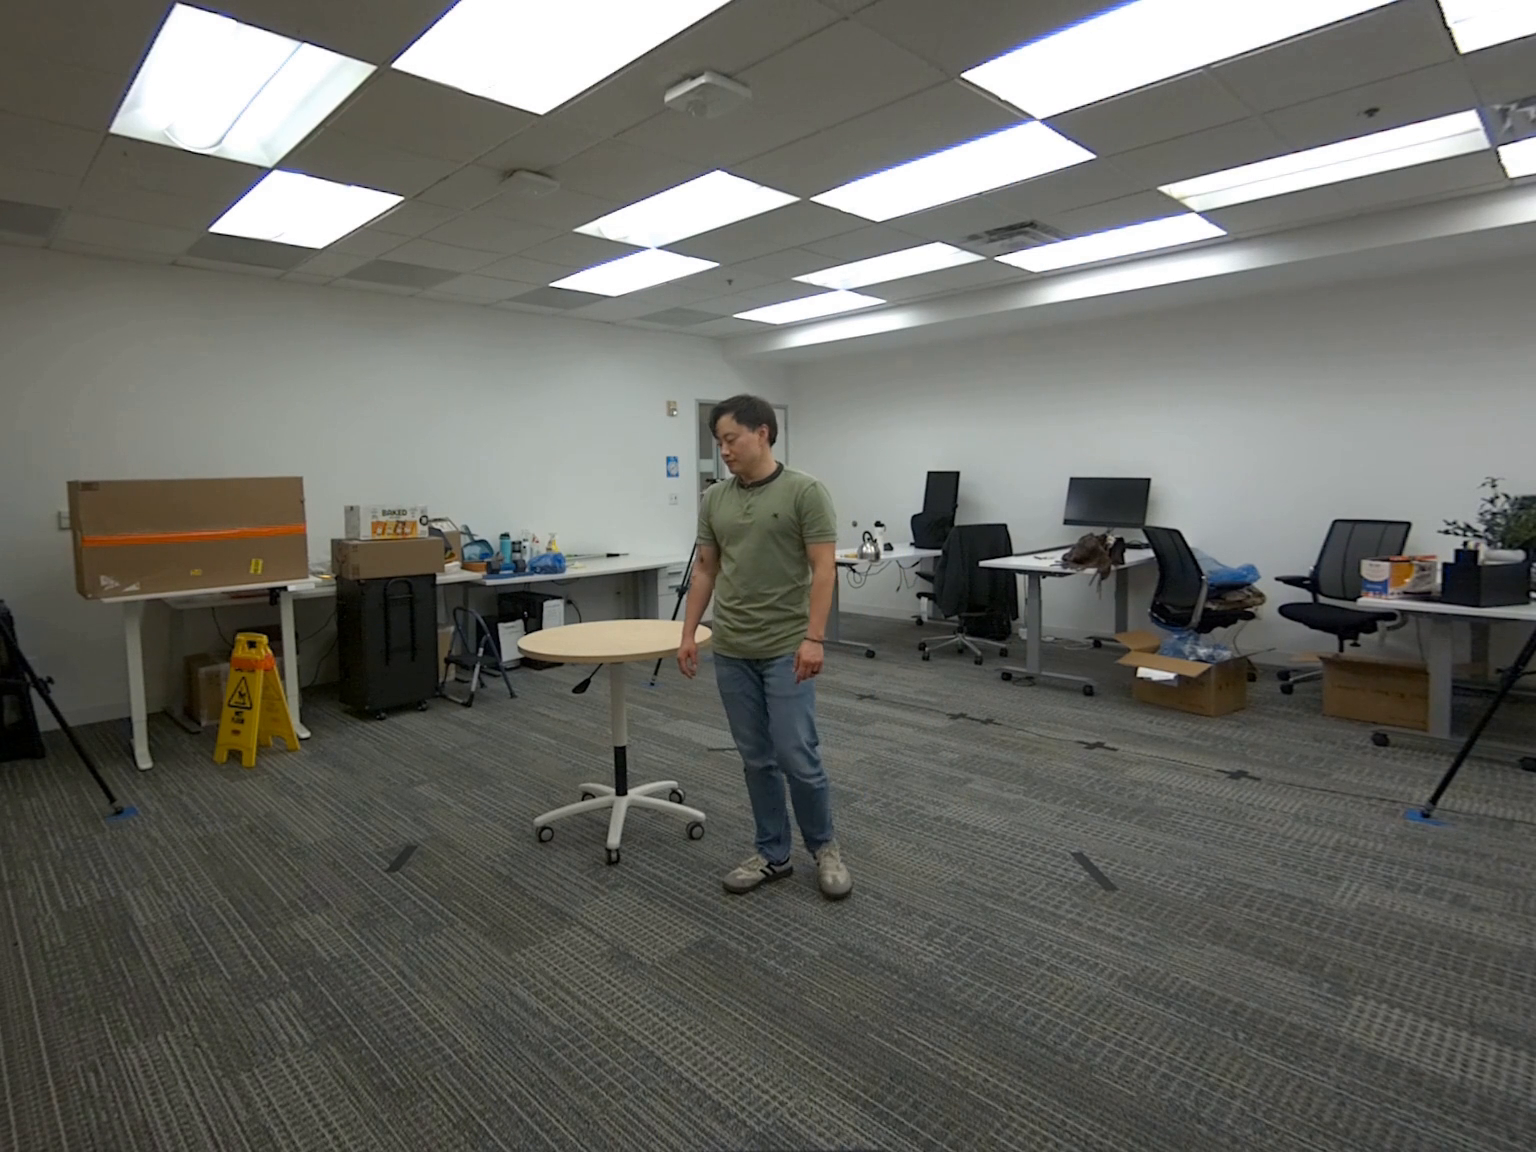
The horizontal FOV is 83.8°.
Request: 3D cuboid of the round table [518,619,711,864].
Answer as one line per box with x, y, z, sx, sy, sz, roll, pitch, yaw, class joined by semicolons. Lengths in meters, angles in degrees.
-0.588;0.630;3.416;0.763;0.791;0.767;-2;4;-2;round table
